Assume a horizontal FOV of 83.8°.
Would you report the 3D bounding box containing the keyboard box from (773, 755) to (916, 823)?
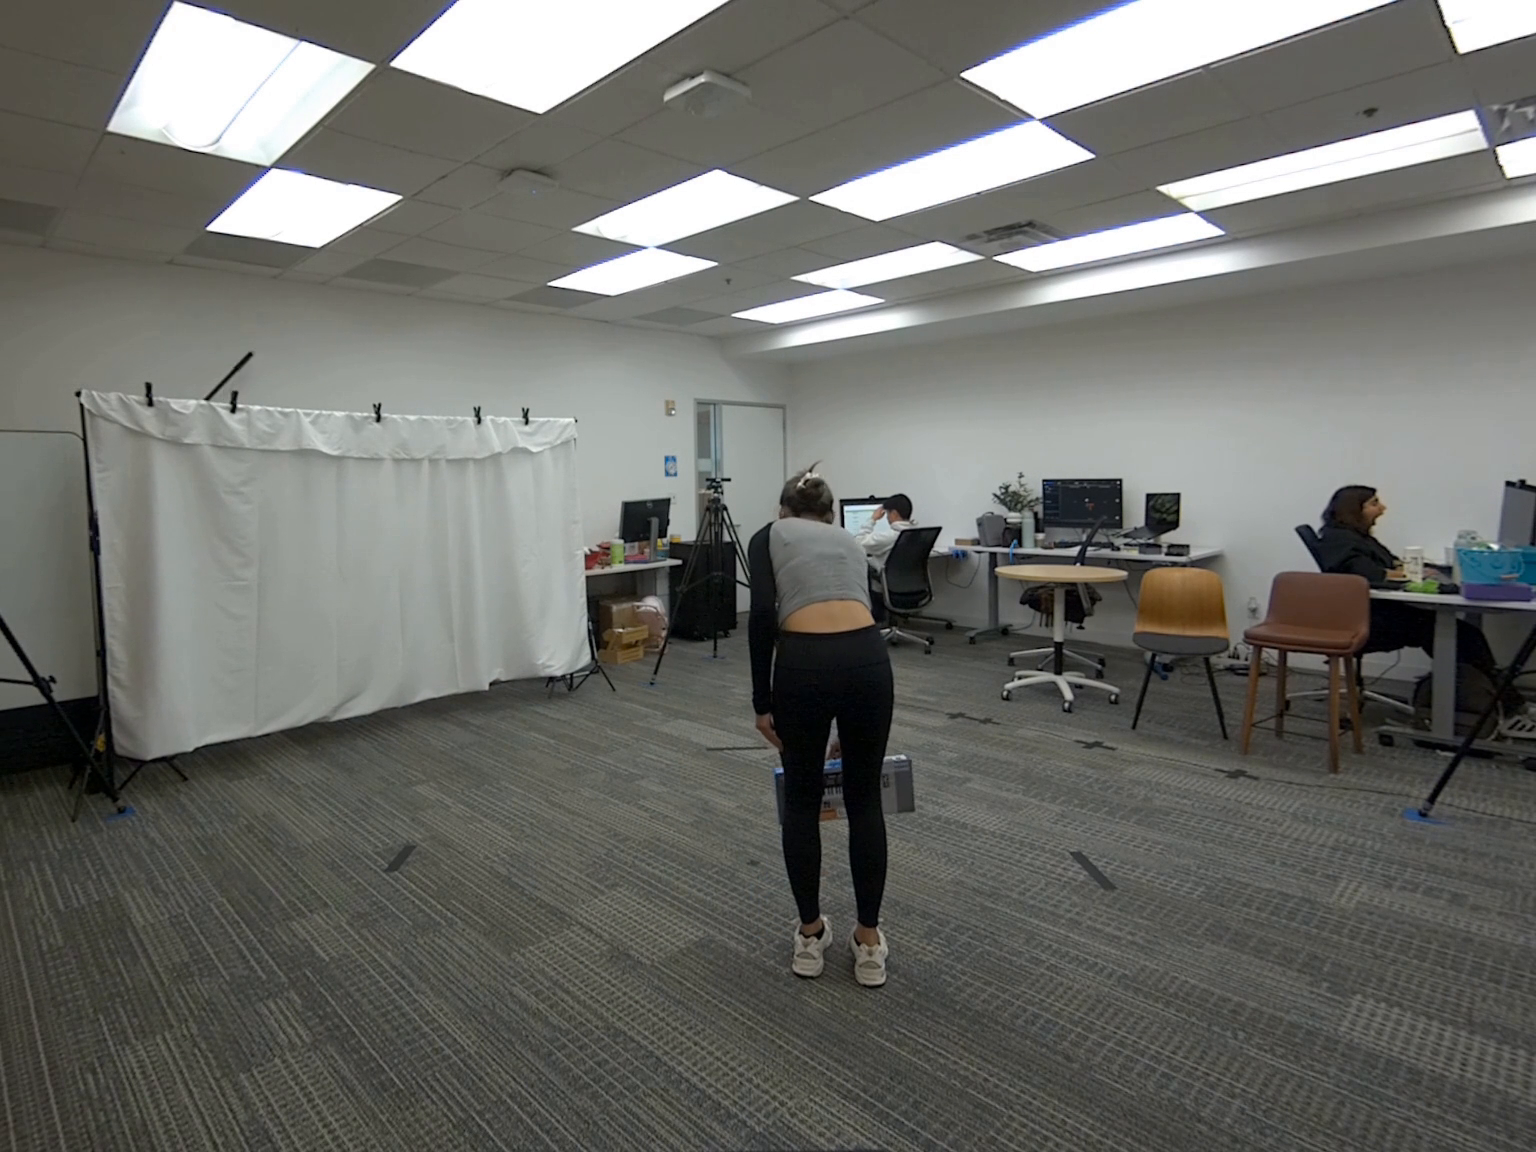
[{"bbox_3d":[0.248,0.684,2.737,0.435,0.175,0.059,-5,4,-3],"label":"keyboard box"}]
